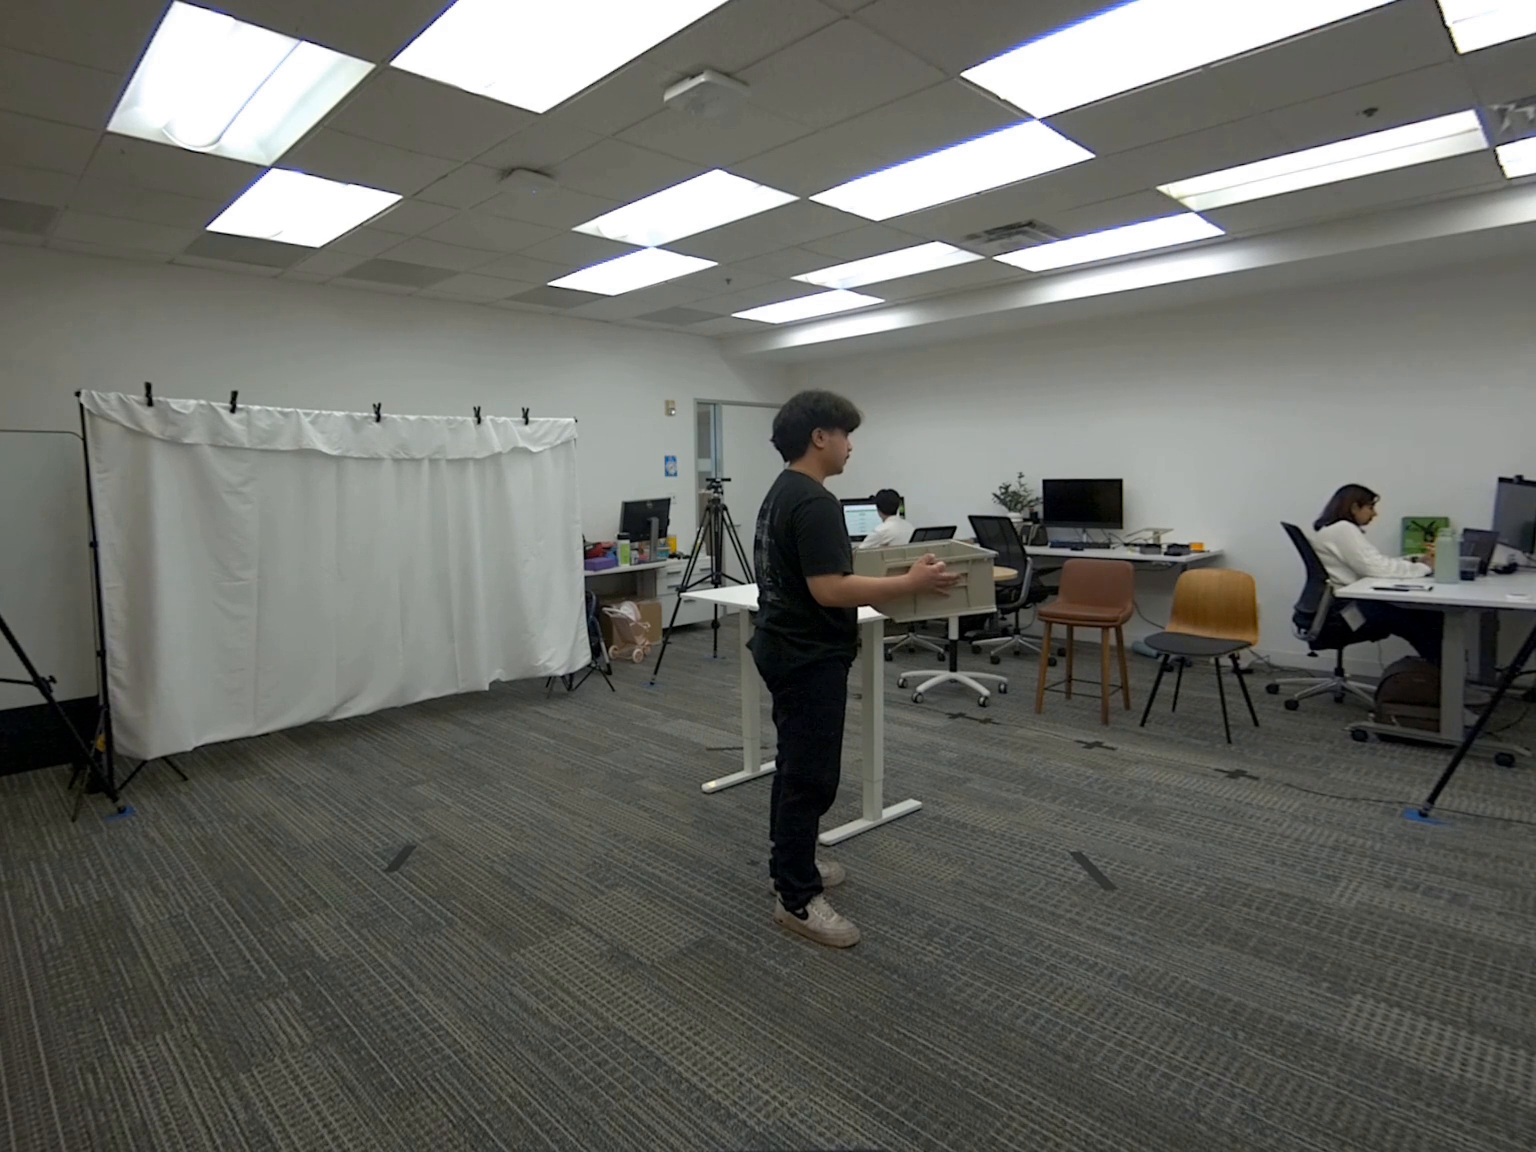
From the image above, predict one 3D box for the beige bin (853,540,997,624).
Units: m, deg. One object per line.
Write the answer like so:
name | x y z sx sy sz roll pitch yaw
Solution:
beige bin | 0.484 0.022 2.749 0.375 0.188 0.427 -3 7 -7
